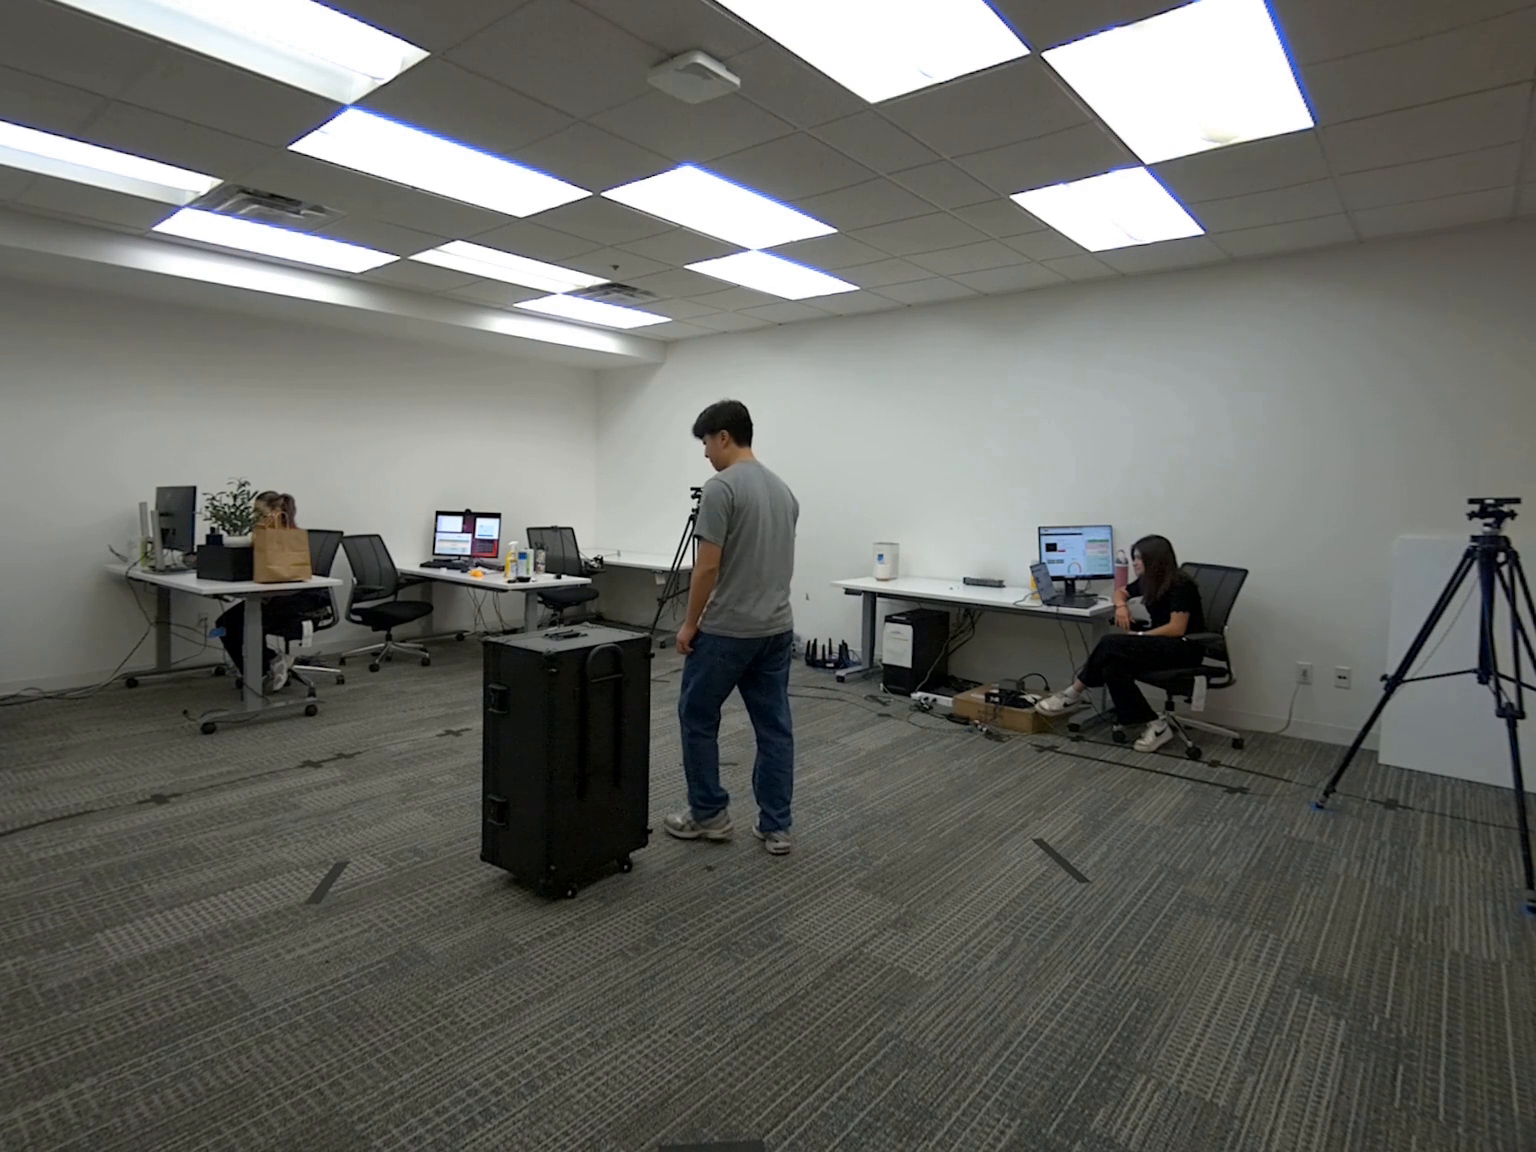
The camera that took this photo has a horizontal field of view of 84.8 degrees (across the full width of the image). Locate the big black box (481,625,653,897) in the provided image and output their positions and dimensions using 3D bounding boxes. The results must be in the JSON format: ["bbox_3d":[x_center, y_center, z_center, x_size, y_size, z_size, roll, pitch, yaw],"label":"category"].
[{"bbox_3d":[-0.719,0.643,3.030,0.409,0.859,0.506,4,4,37],"label":"big black box"}]
